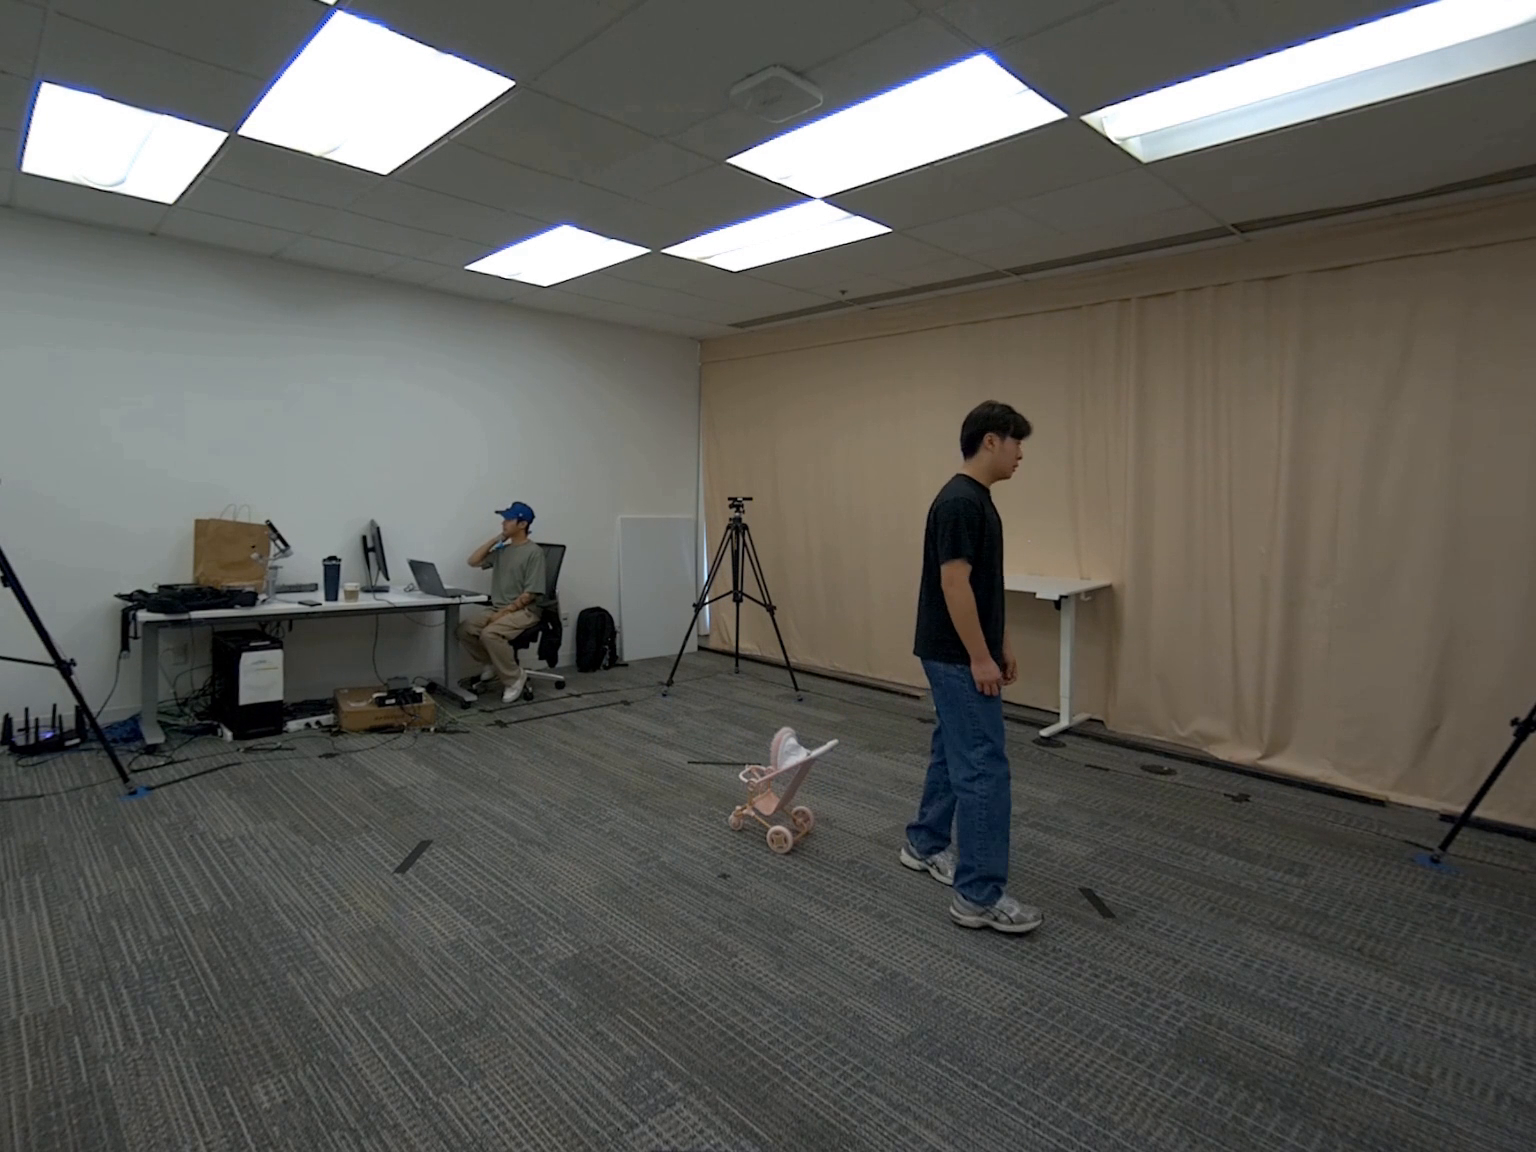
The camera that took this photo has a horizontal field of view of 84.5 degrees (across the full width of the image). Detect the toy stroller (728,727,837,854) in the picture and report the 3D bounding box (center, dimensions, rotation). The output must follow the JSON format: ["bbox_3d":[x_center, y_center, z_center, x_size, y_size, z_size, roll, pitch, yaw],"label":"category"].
[{"bbox_3d":[0.038,0.857,3.456,0.350,0.532,0.276,22,12,28],"label":"toy stroller"}]
